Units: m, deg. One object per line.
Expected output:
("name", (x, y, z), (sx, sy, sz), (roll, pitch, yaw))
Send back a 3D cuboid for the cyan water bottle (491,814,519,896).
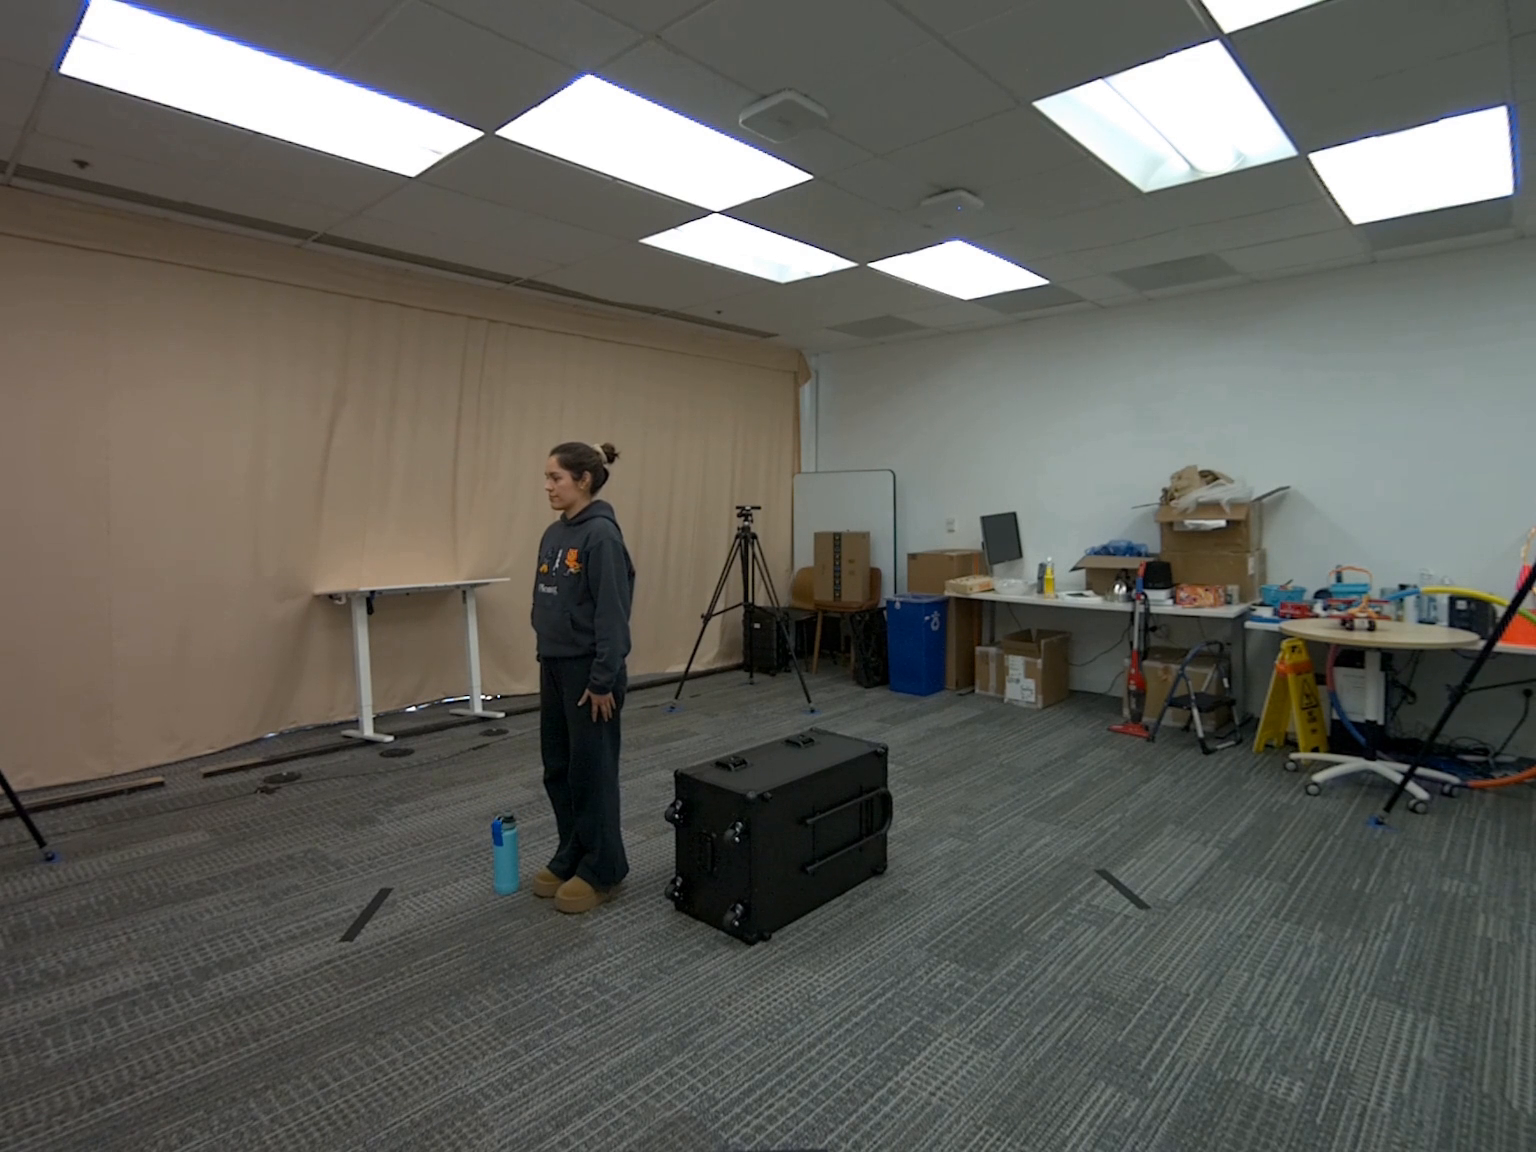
("cyan water bottle", (-0.943, 1.016, 3.079), (0.092, 0.283, 0.092), (-2, 2, -2))
